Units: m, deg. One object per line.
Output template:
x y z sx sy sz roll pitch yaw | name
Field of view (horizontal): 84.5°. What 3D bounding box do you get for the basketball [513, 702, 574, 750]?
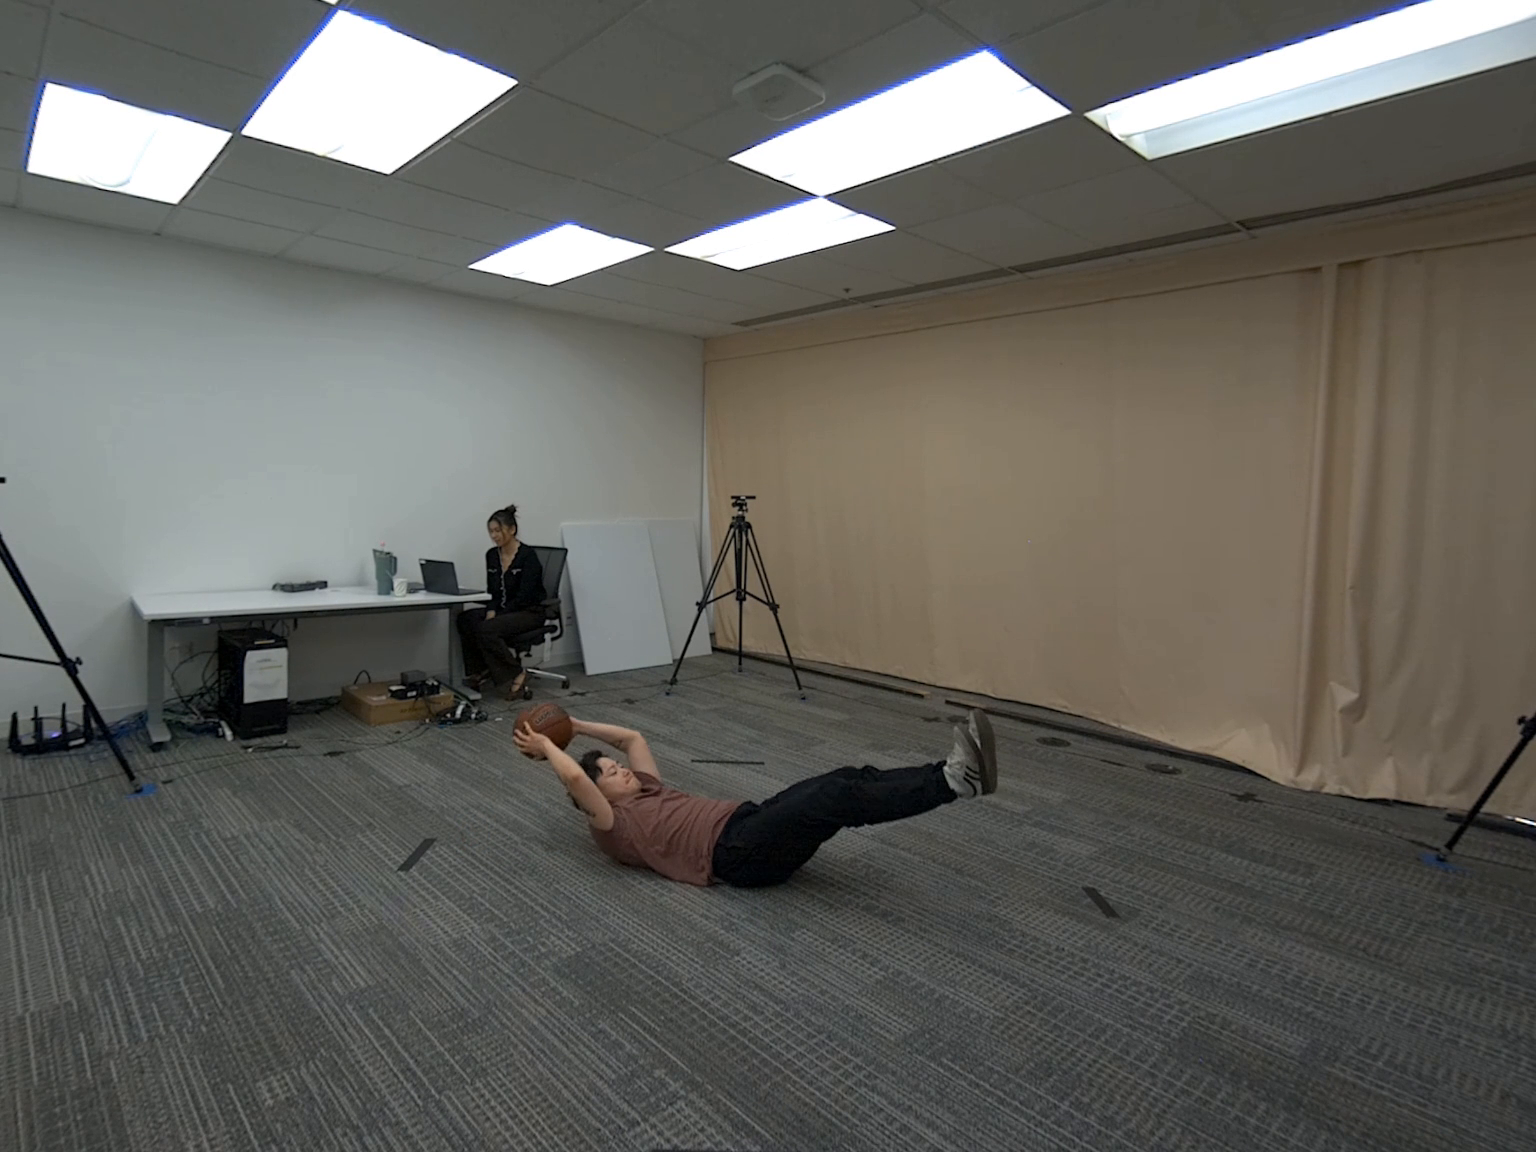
-0.911 0.625 3.390 0.236 0.234 0.237 0 8 -1 | basketball
